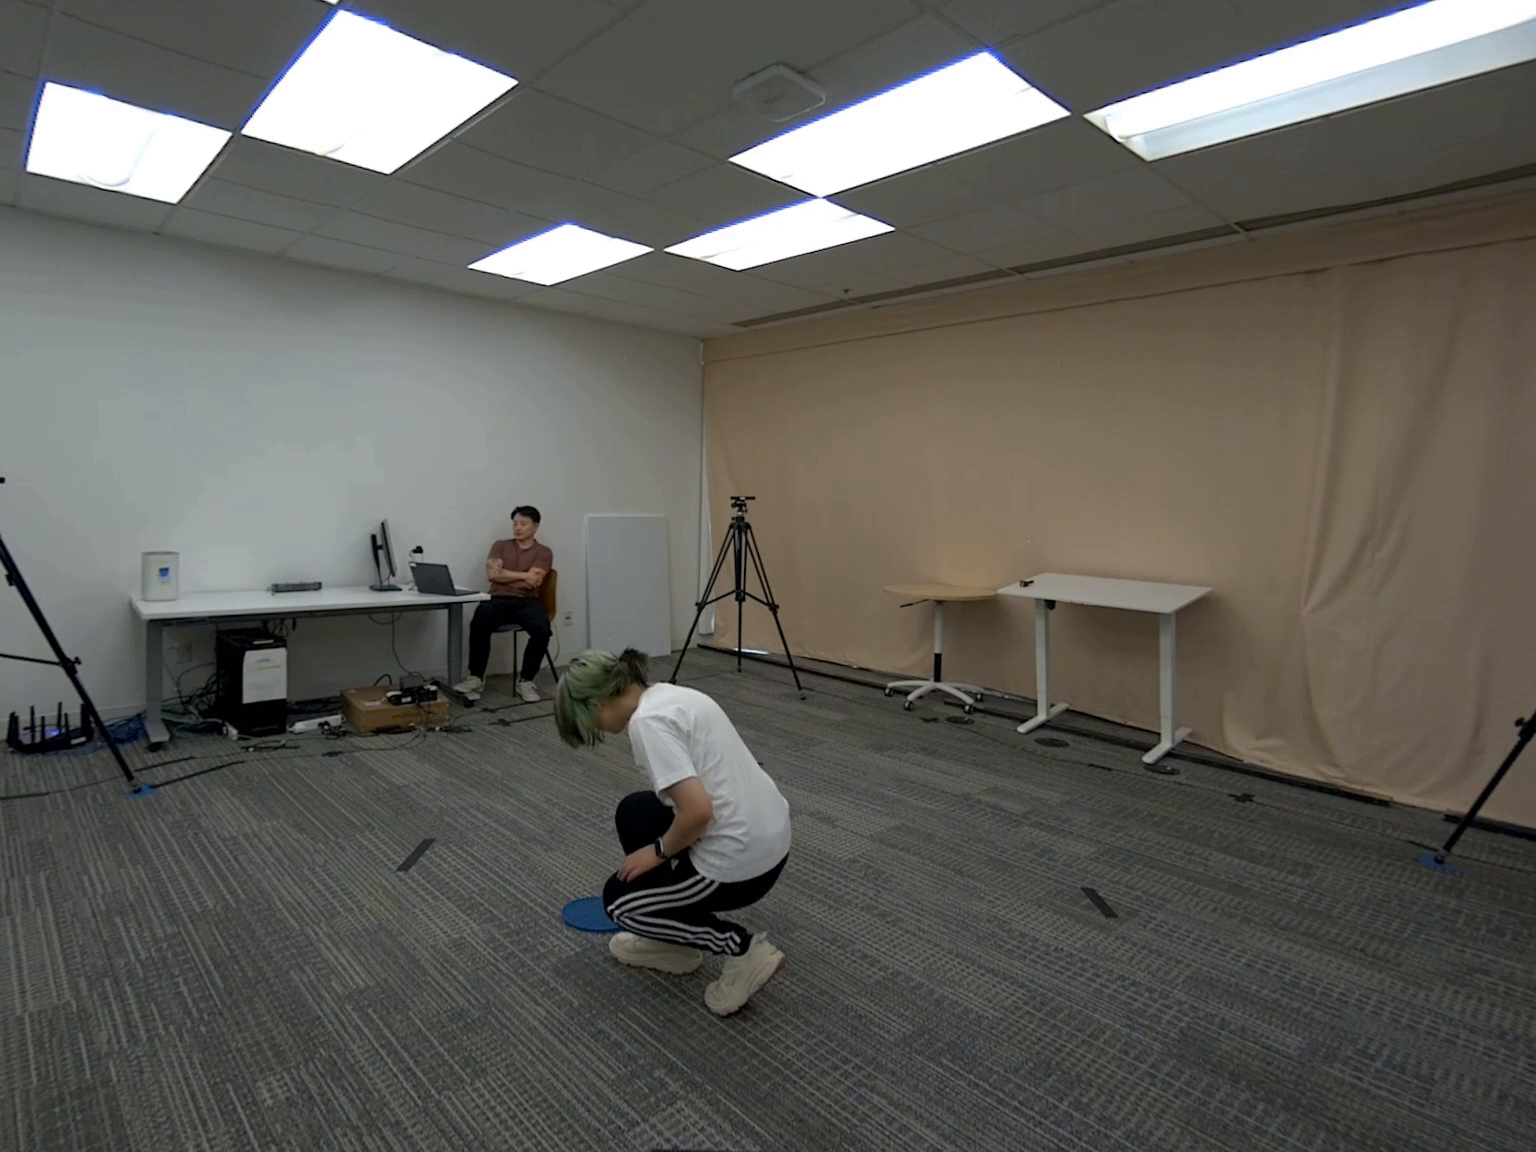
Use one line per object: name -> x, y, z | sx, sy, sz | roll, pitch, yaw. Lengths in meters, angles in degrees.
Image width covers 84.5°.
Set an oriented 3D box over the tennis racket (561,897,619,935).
tennis racket -> -0.482, 1.116, 2.737 | 0.442, 0.031, 0.210 | 2, 6, 28
